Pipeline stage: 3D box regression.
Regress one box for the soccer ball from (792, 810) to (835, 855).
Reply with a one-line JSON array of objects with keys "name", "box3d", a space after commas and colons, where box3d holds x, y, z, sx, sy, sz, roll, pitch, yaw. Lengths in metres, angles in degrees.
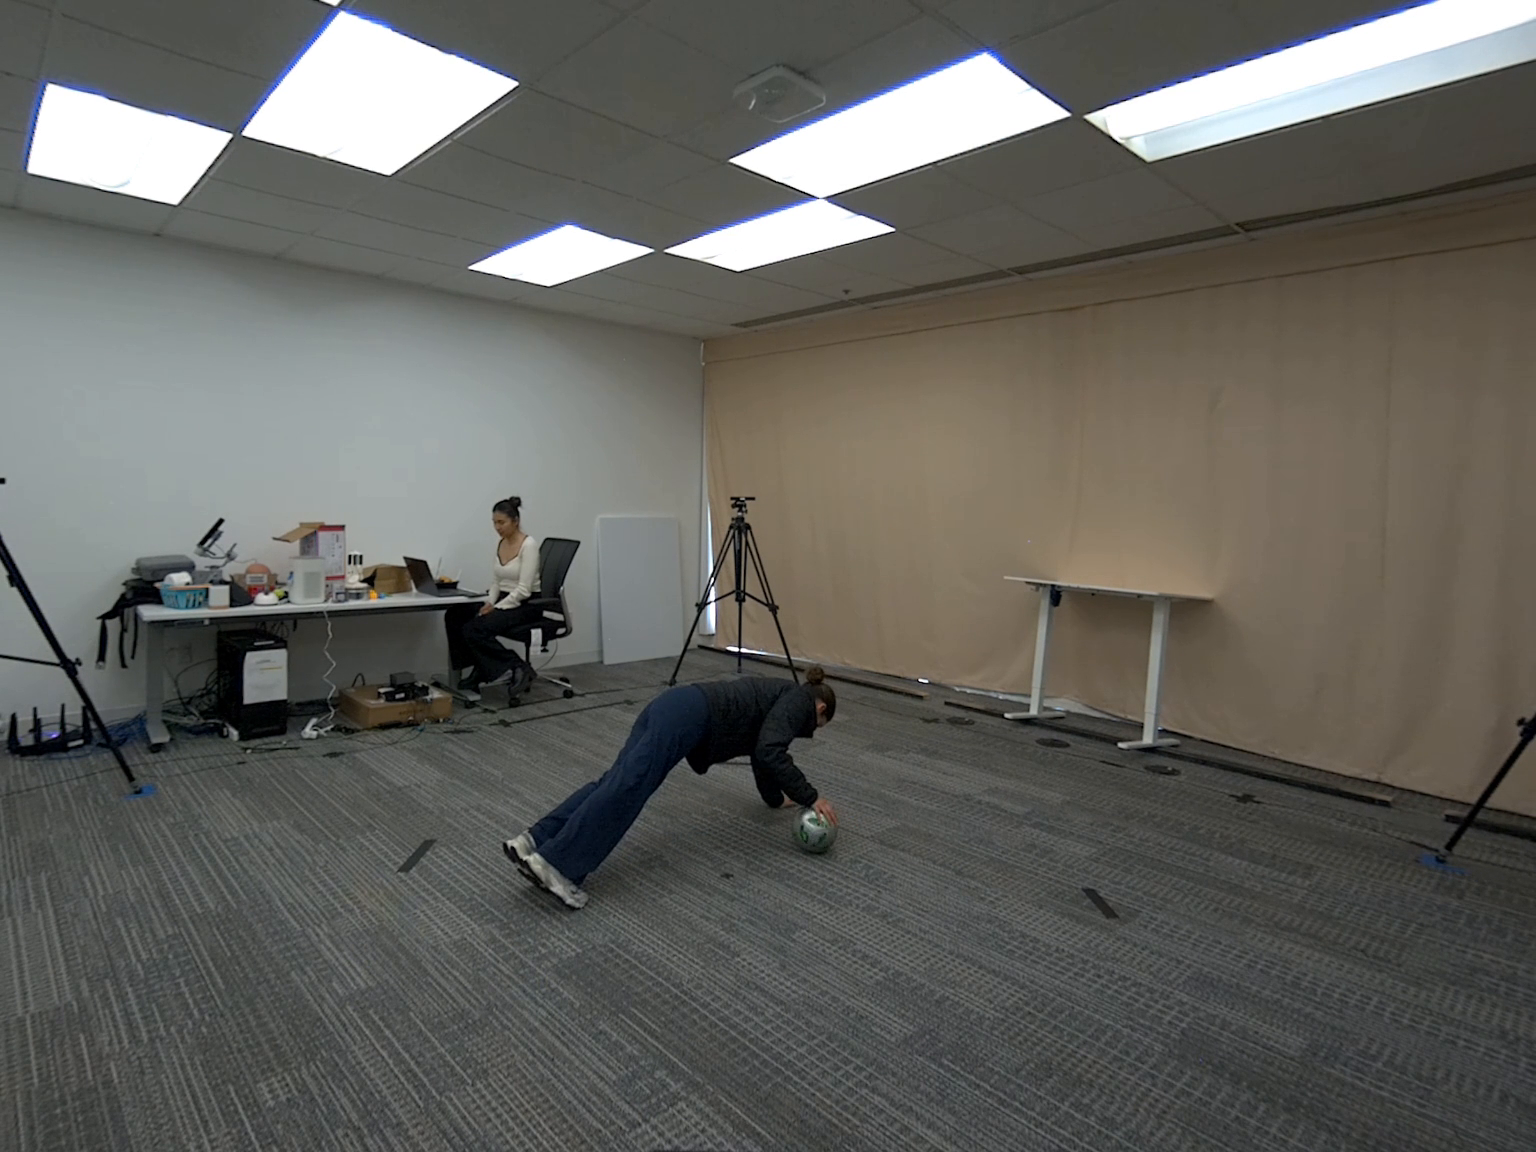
[{"name": "soccer ball", "box3d": [0.171, 0.997, 3.352, 0.187, 0.187, 0.188, 1, 4, -1]}]
